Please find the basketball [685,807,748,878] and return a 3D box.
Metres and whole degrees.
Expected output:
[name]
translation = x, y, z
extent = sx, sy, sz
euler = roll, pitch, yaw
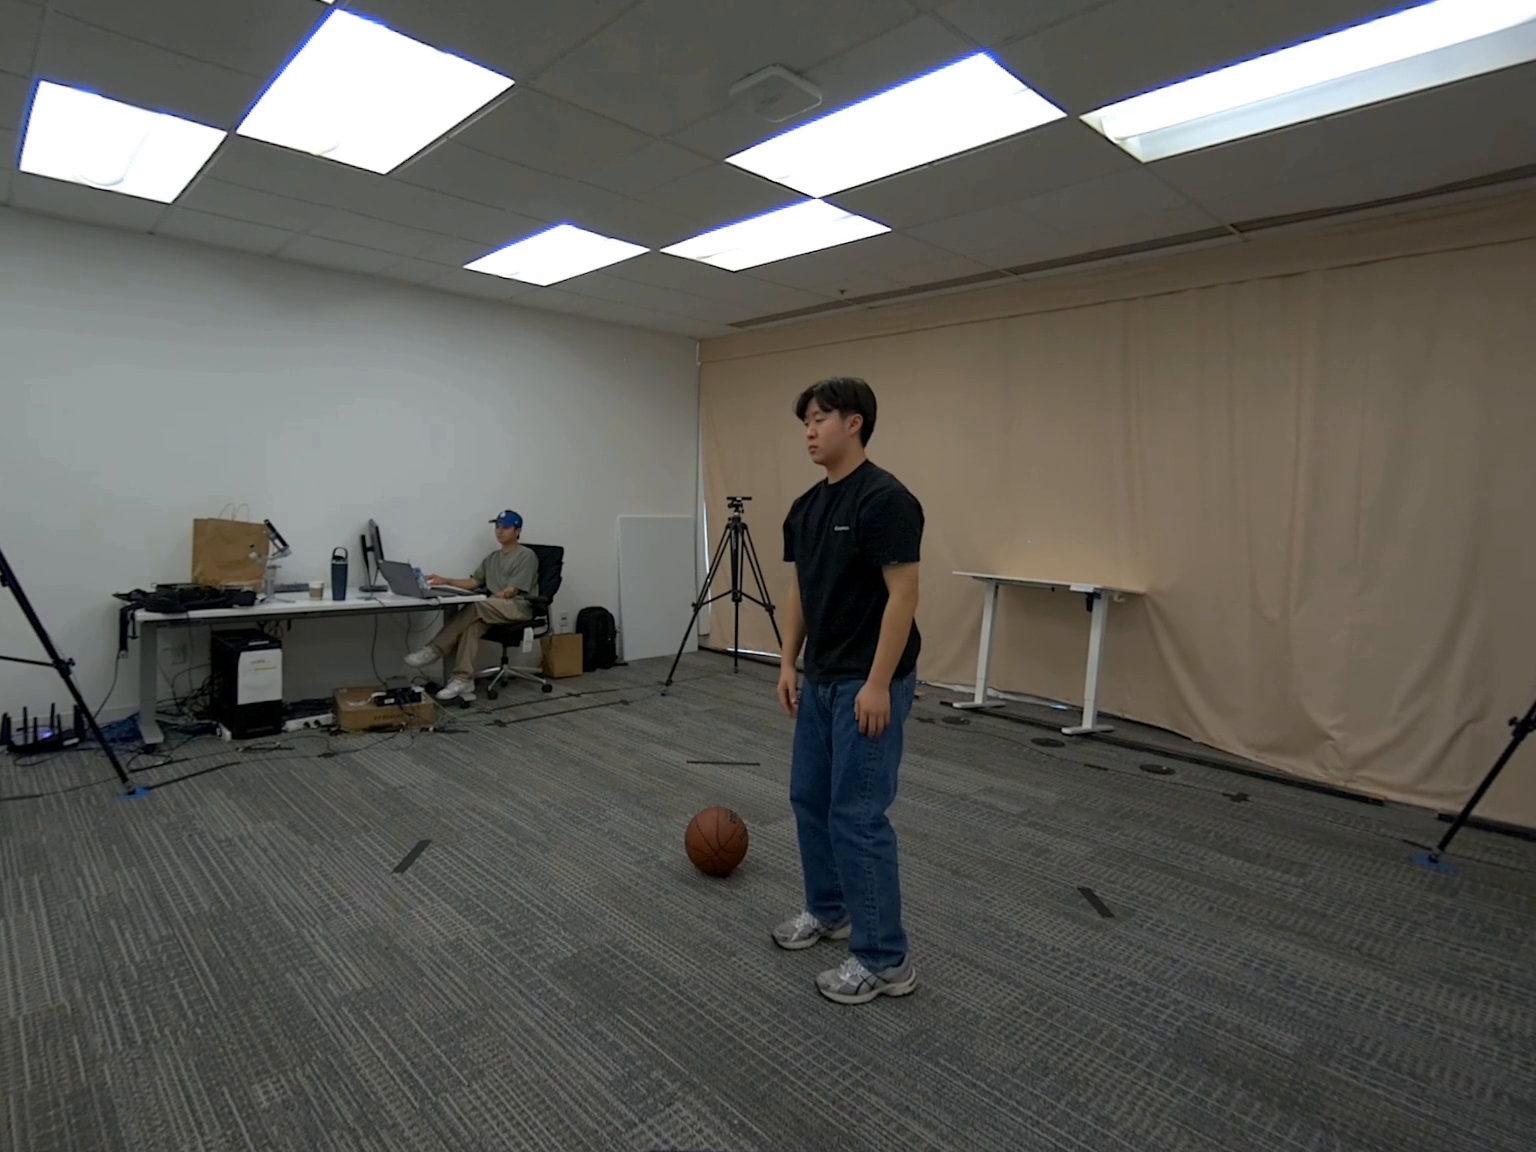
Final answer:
[basketball]
translation = -0.194, 0.984, 3.129
extent = 0.236, 0.235, 0.237
euler = 1, 4, -1
